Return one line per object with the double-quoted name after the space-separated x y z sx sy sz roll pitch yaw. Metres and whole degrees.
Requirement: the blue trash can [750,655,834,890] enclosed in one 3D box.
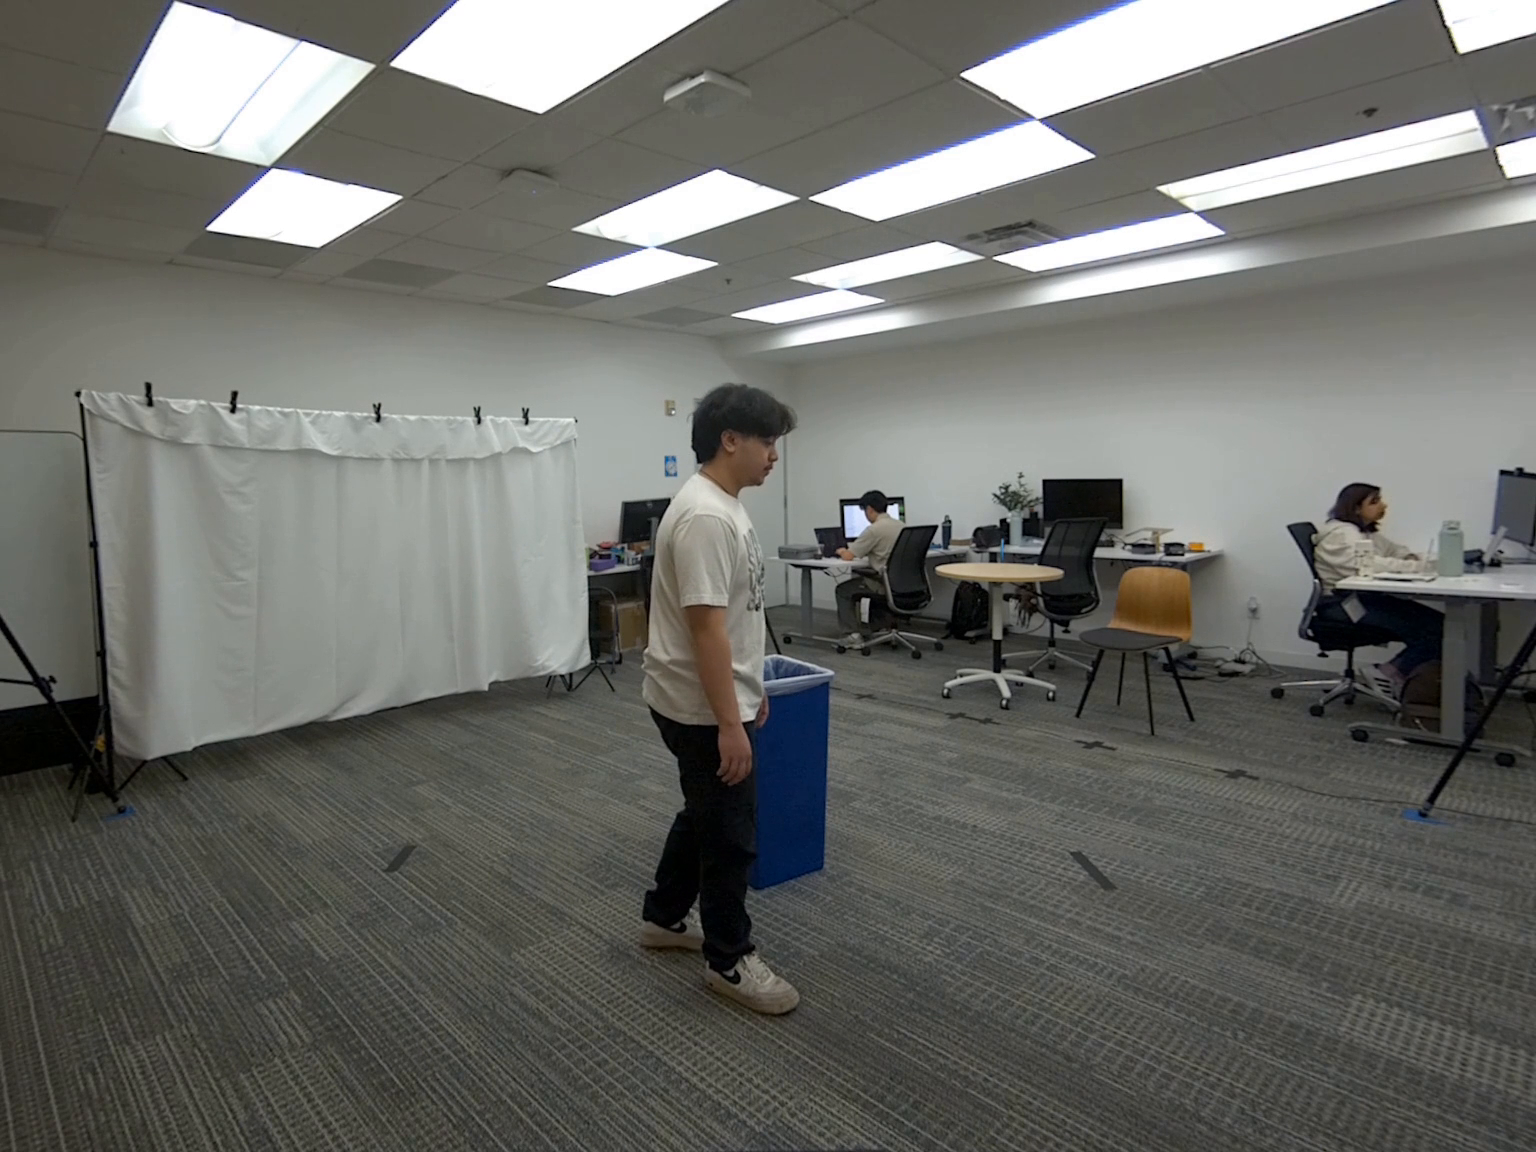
0.002 0.687 3.069 0.368 0.711 0.385 -4 5 -35 "blue trash can"
